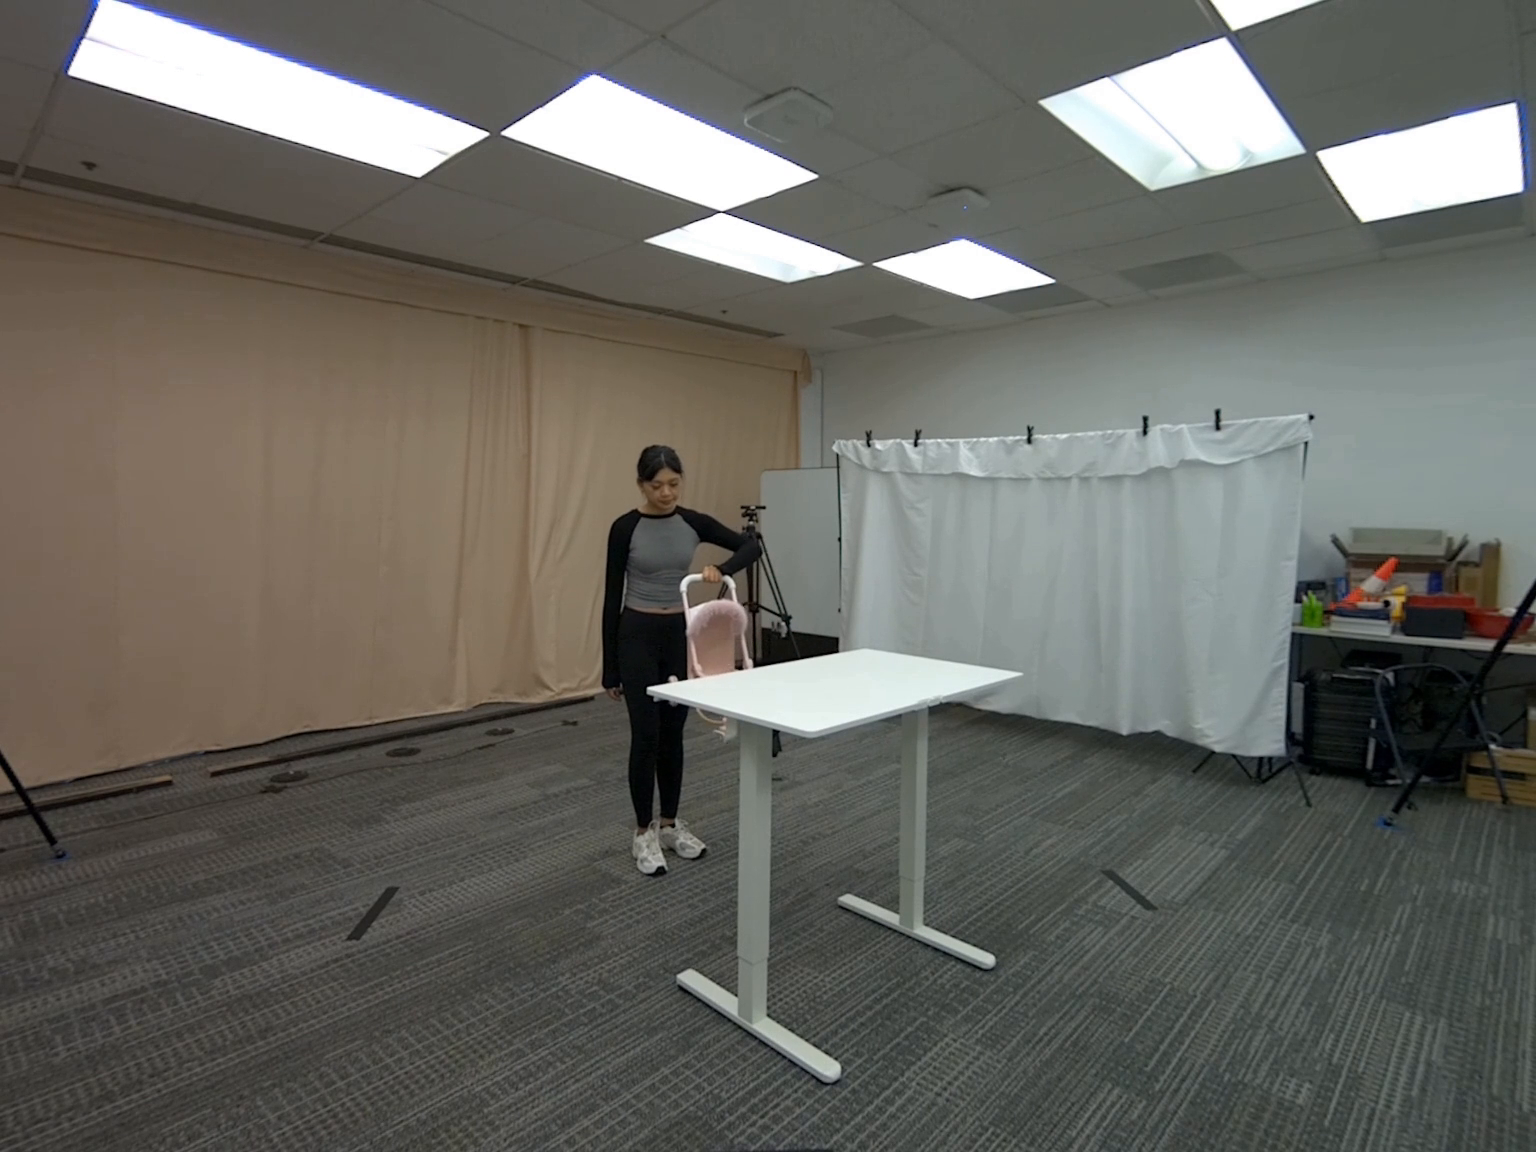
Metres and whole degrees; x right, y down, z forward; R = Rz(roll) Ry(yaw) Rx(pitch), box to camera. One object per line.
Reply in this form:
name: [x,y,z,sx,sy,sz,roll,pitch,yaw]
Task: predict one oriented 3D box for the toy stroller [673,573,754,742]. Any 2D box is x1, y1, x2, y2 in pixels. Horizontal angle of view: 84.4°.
toy stroller: [-0.182,0.297,2.981,0.277,0.530,0.350,-1,15,-17]
